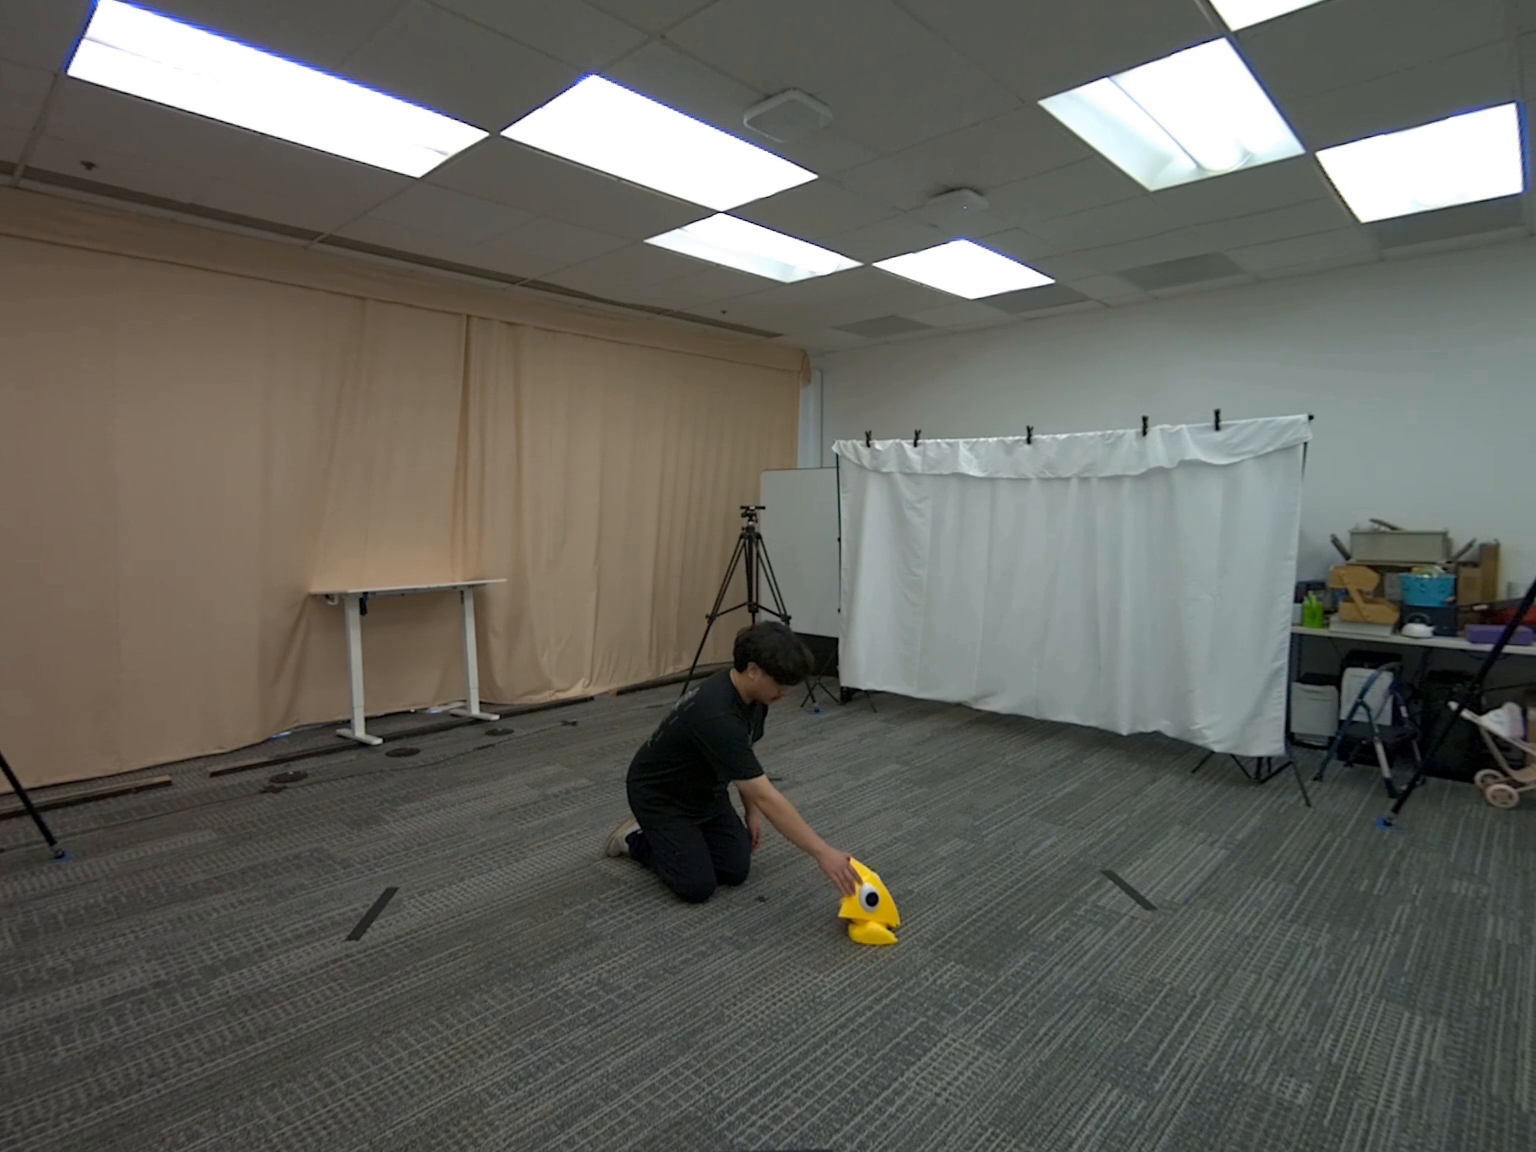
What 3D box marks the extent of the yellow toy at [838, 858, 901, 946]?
[{"bbox_3d":[0.338,1.046,2.763,0.196,0.230,0.202,-2,3,13],"label":"yellow toy"}]
